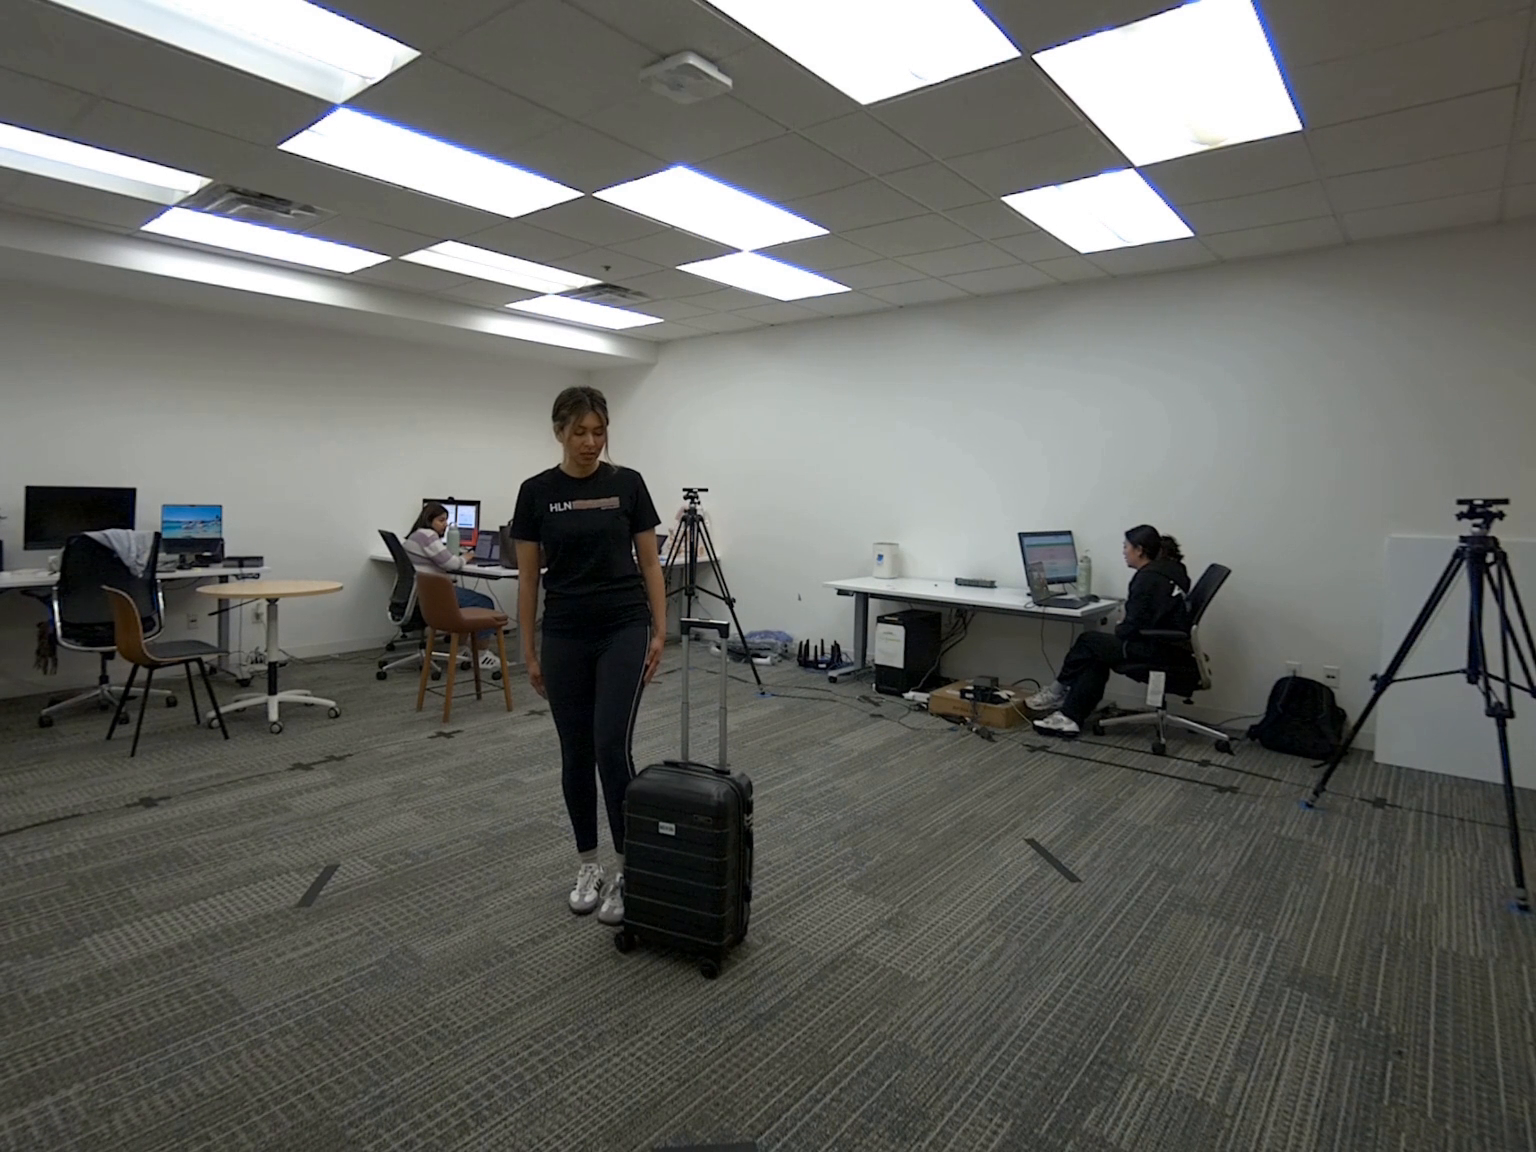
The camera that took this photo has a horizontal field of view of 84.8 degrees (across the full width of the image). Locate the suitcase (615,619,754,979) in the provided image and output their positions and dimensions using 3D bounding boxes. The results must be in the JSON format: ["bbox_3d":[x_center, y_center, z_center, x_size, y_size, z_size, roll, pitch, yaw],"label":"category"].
[{"bbox_3d":[-0.232,0.648,2.533,0.393,0.974,0.252,4,5,22],"label":"suitcase"}]
